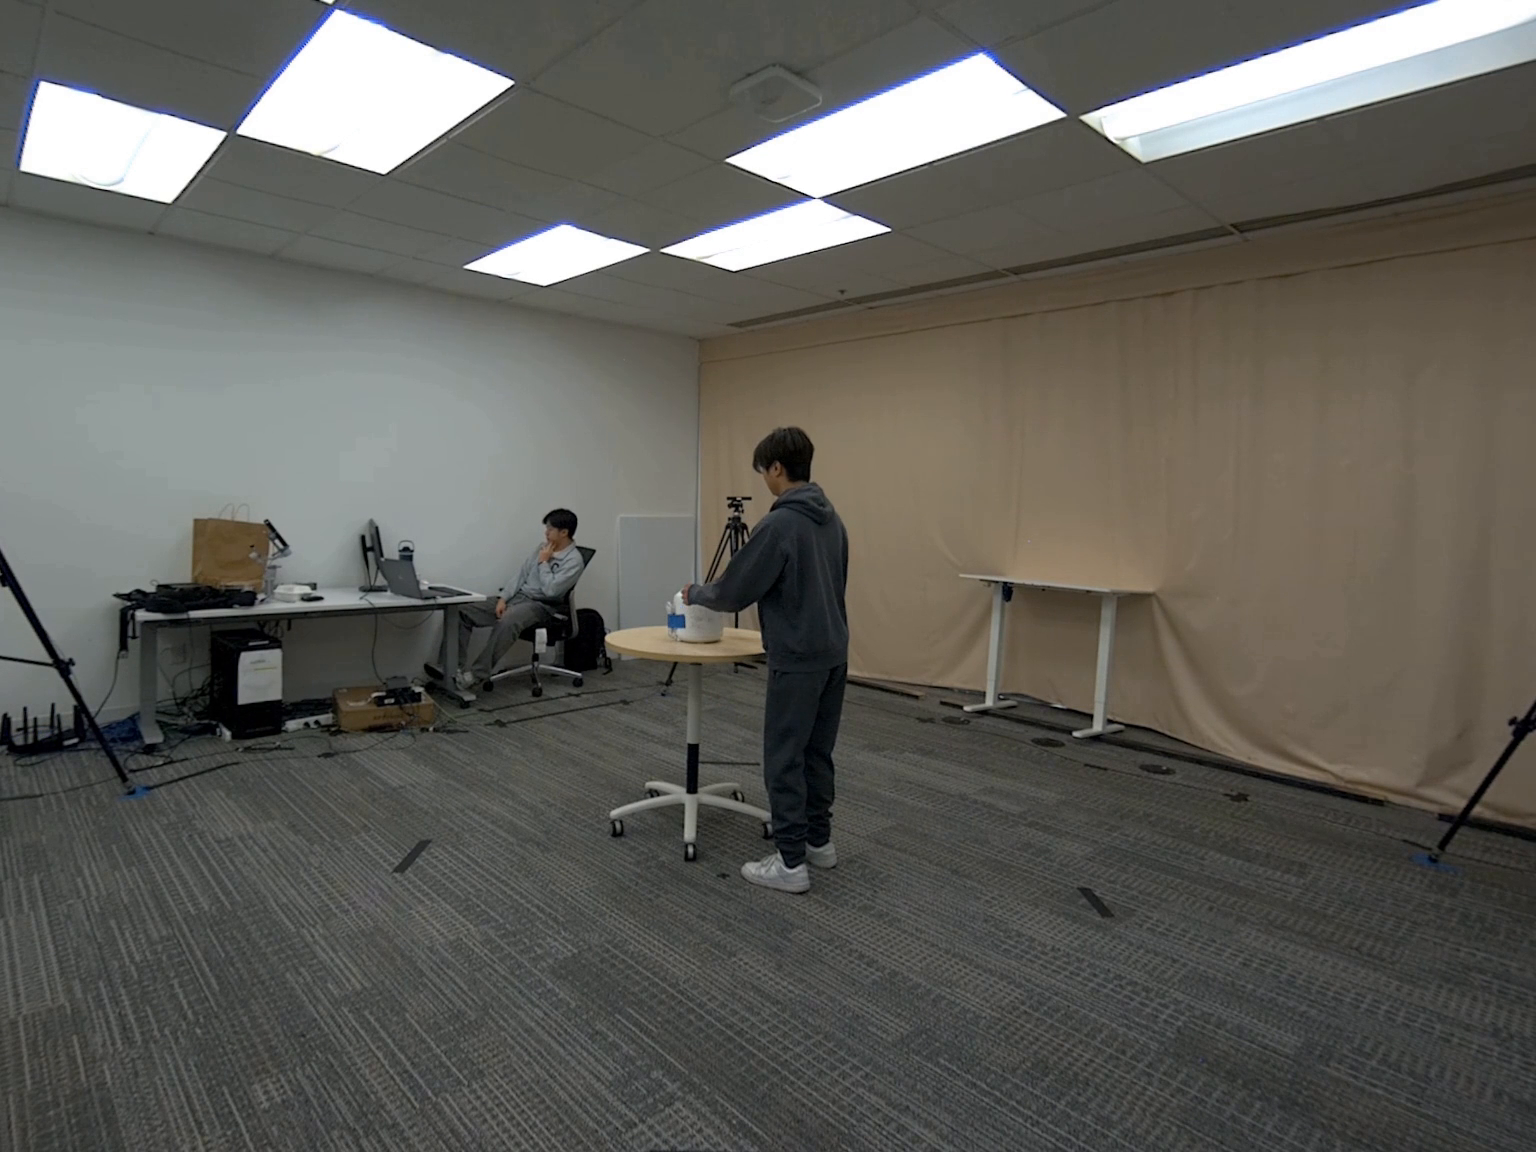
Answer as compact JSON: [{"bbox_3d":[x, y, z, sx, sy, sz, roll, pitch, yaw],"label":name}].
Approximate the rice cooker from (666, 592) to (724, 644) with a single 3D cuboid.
[{"bbox_3d":[-0.296,0.153,3.521,0.225,0.232,0.214,6,6,27],"label":"rice cooker"}]
